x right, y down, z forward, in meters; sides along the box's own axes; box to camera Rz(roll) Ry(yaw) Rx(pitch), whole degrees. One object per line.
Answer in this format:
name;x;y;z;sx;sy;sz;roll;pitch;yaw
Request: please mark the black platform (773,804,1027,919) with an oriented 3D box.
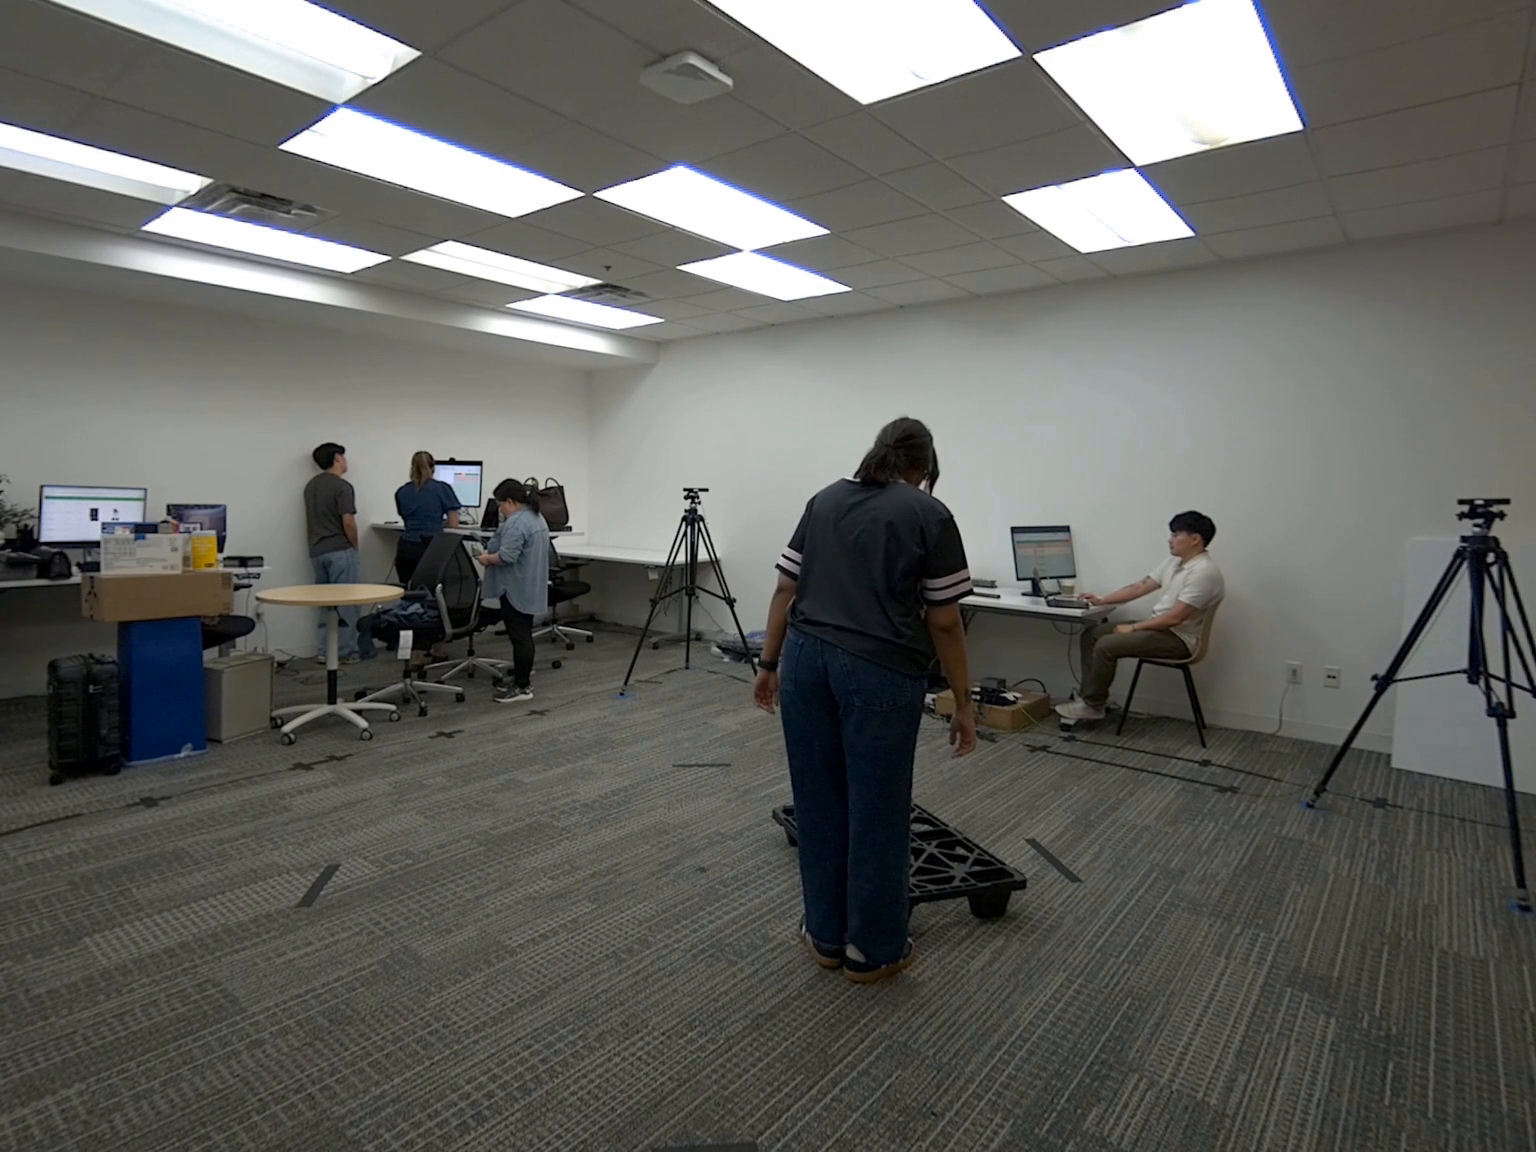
black platform;0.427;1.015;3.082;0.593;0.143;0.825;-1;6;-21
